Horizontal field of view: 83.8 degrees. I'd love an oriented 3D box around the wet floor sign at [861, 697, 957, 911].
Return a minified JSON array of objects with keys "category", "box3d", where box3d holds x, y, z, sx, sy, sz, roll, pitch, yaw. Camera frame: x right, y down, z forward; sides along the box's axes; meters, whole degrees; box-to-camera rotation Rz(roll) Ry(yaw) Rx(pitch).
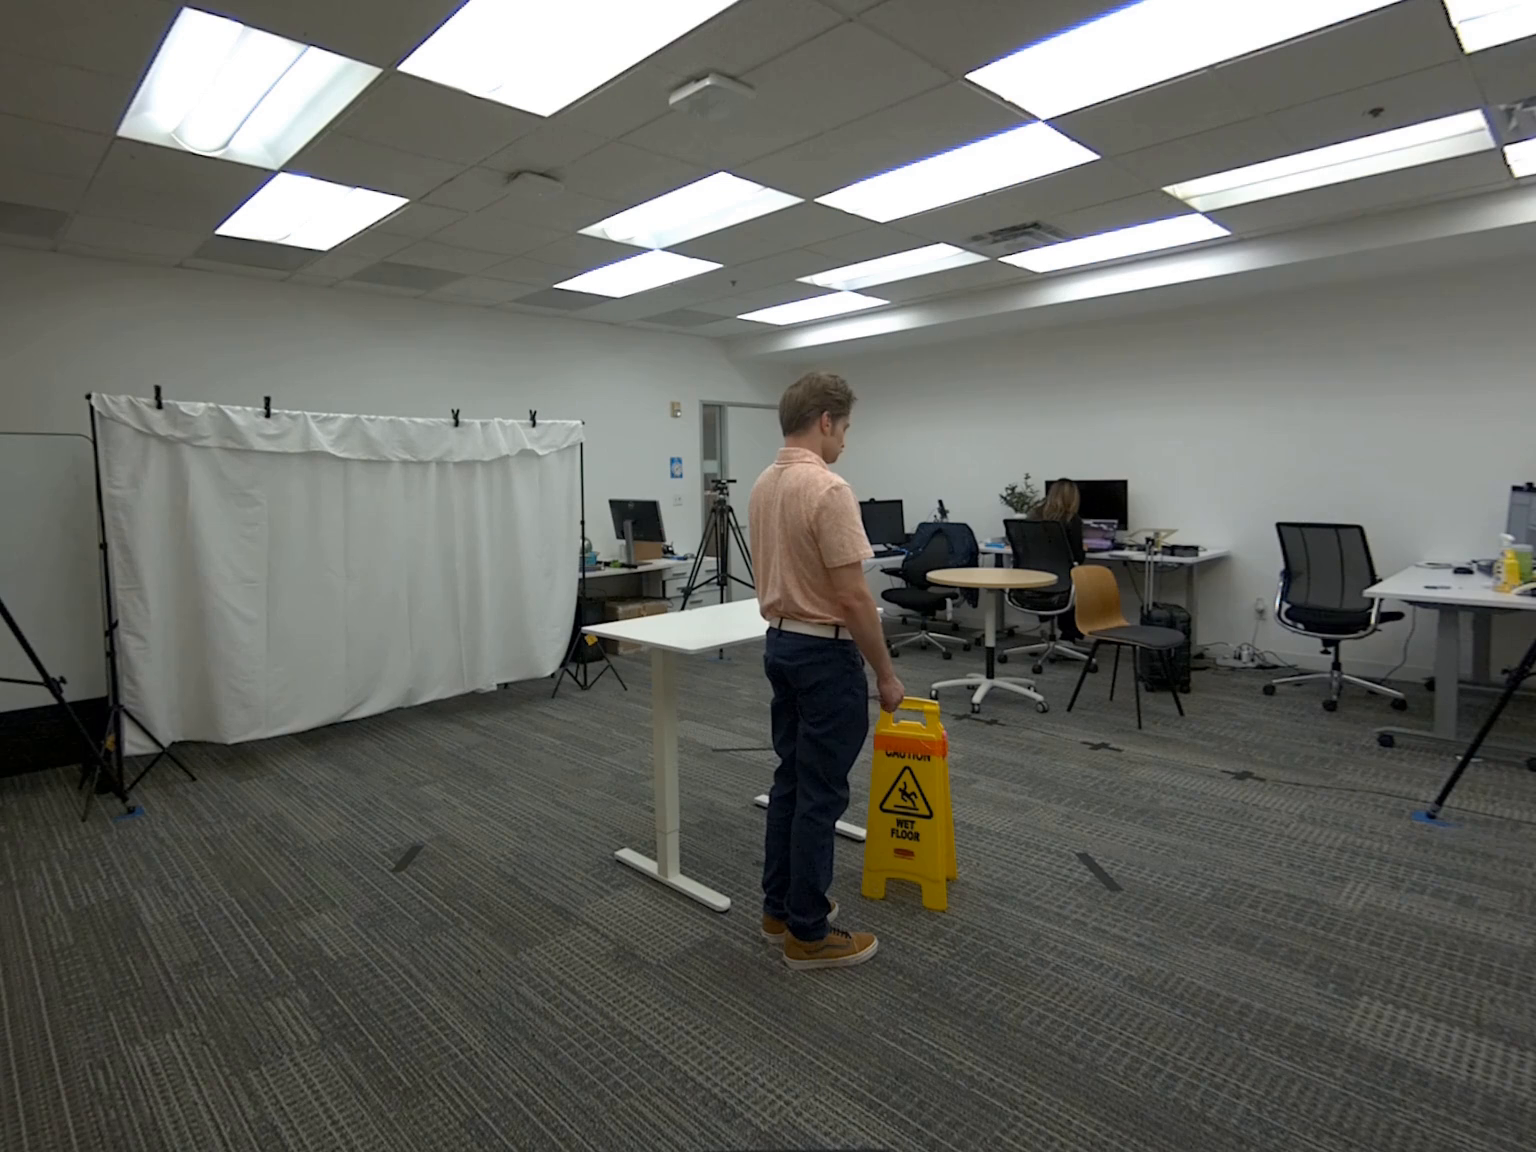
[{"category":"wet floor sign","box3d":[0.482,0.739,2.885,0.288,0.644,0.285,0,4,20]}]
